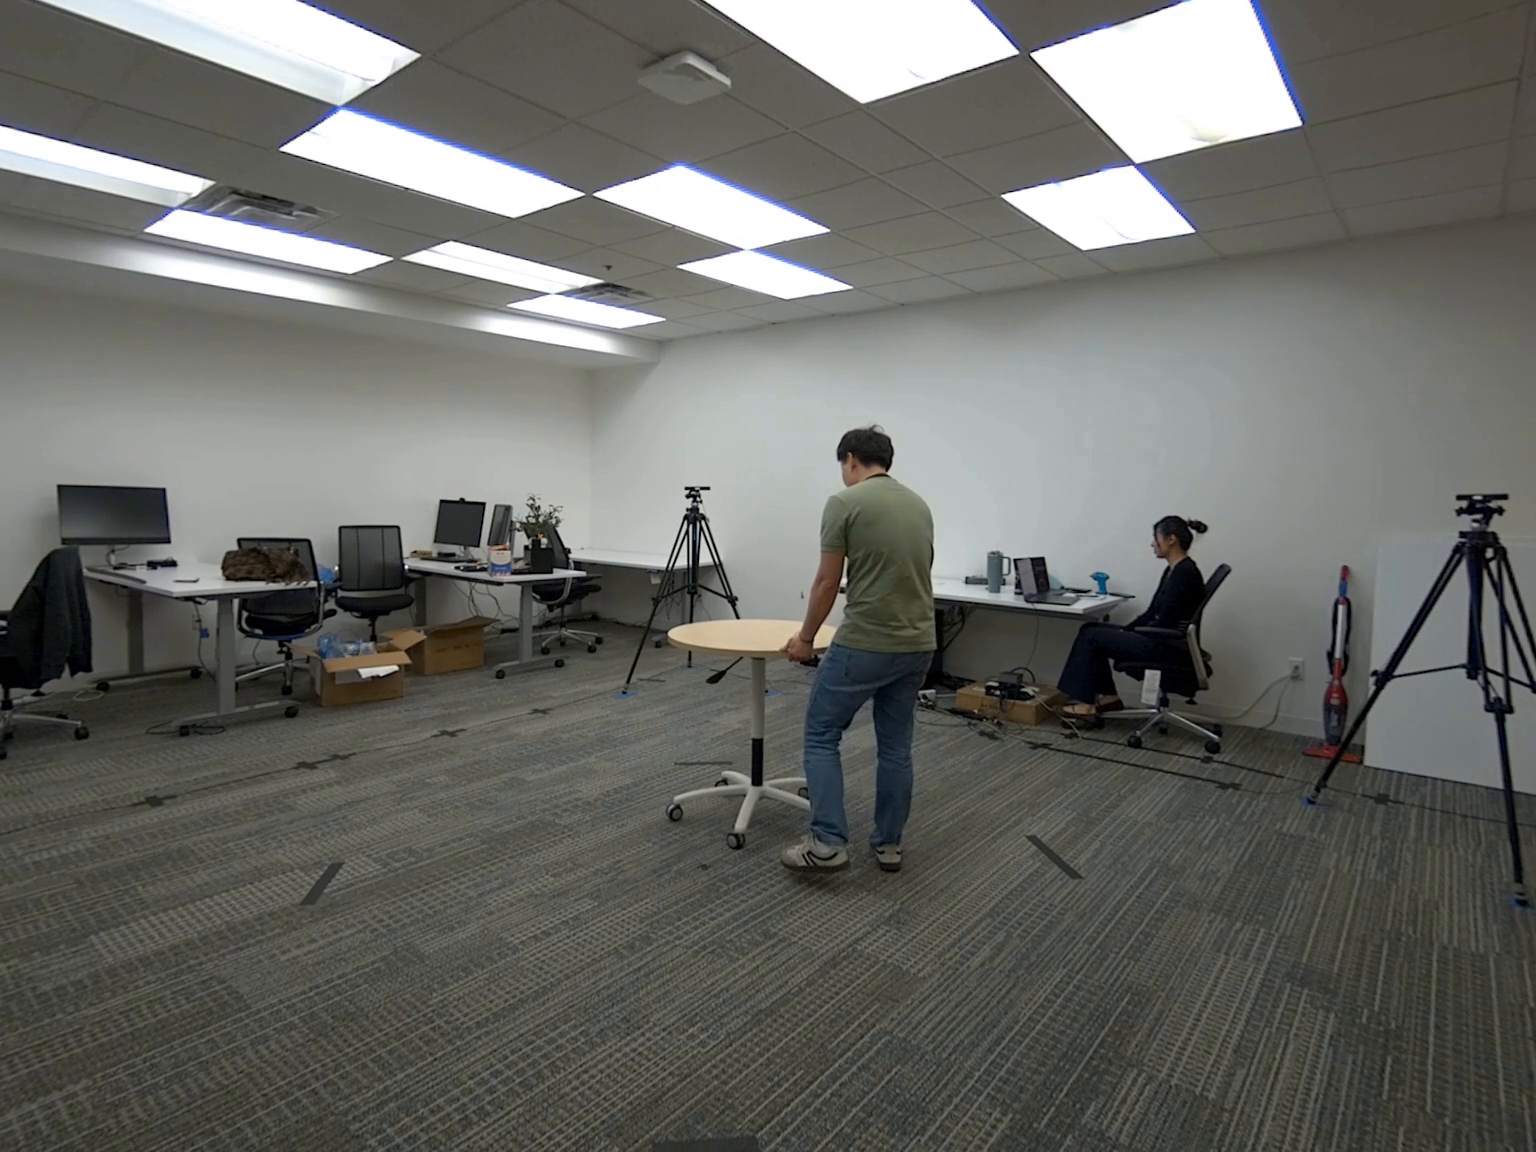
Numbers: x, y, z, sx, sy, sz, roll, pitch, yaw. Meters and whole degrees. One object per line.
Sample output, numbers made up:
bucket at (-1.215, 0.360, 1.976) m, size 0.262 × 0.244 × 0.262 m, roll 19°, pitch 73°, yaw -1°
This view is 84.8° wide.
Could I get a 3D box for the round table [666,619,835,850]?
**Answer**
round table at (-0.056, 0.631, 3.587) m, size 0.763 × 0.791 × 0.768 m, roll 1°, pitch 4°, yaw -2°
